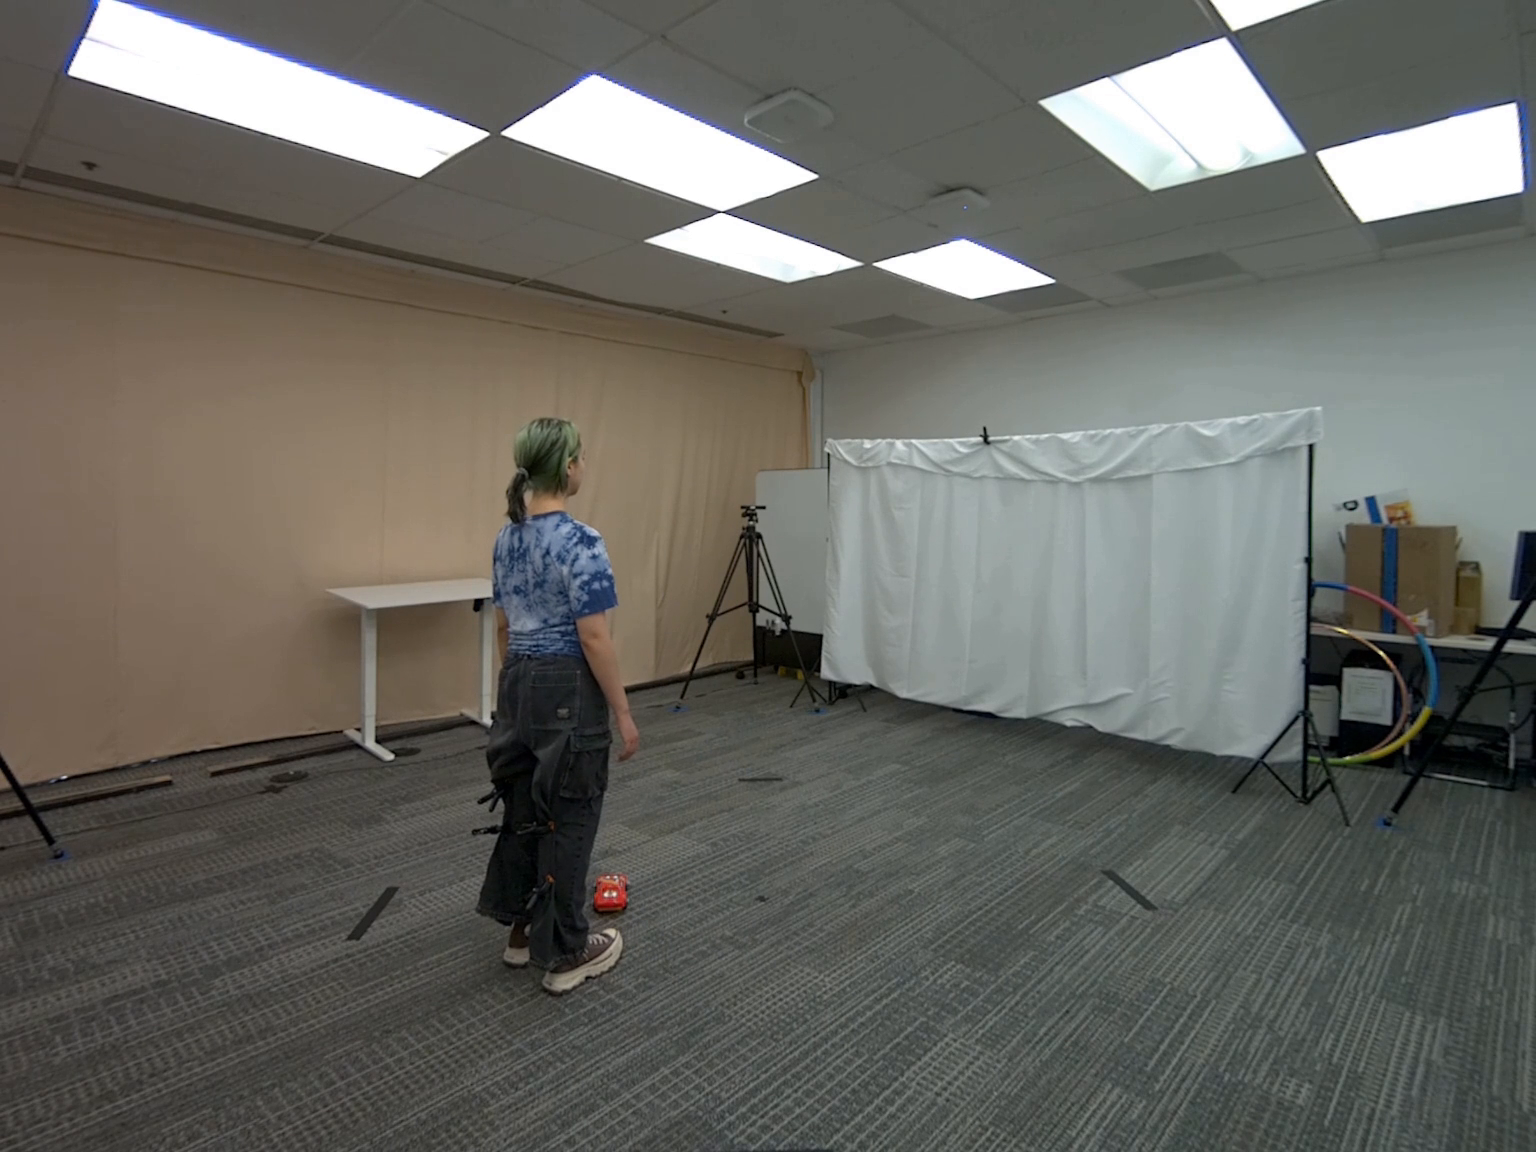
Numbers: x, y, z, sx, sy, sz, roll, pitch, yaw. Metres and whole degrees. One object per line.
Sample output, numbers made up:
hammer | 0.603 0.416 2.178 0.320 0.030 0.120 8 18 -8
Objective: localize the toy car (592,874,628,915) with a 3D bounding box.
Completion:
toy car | -0.556 1.119 2.961 0.129 0.083 0.255 1 -7 -8
